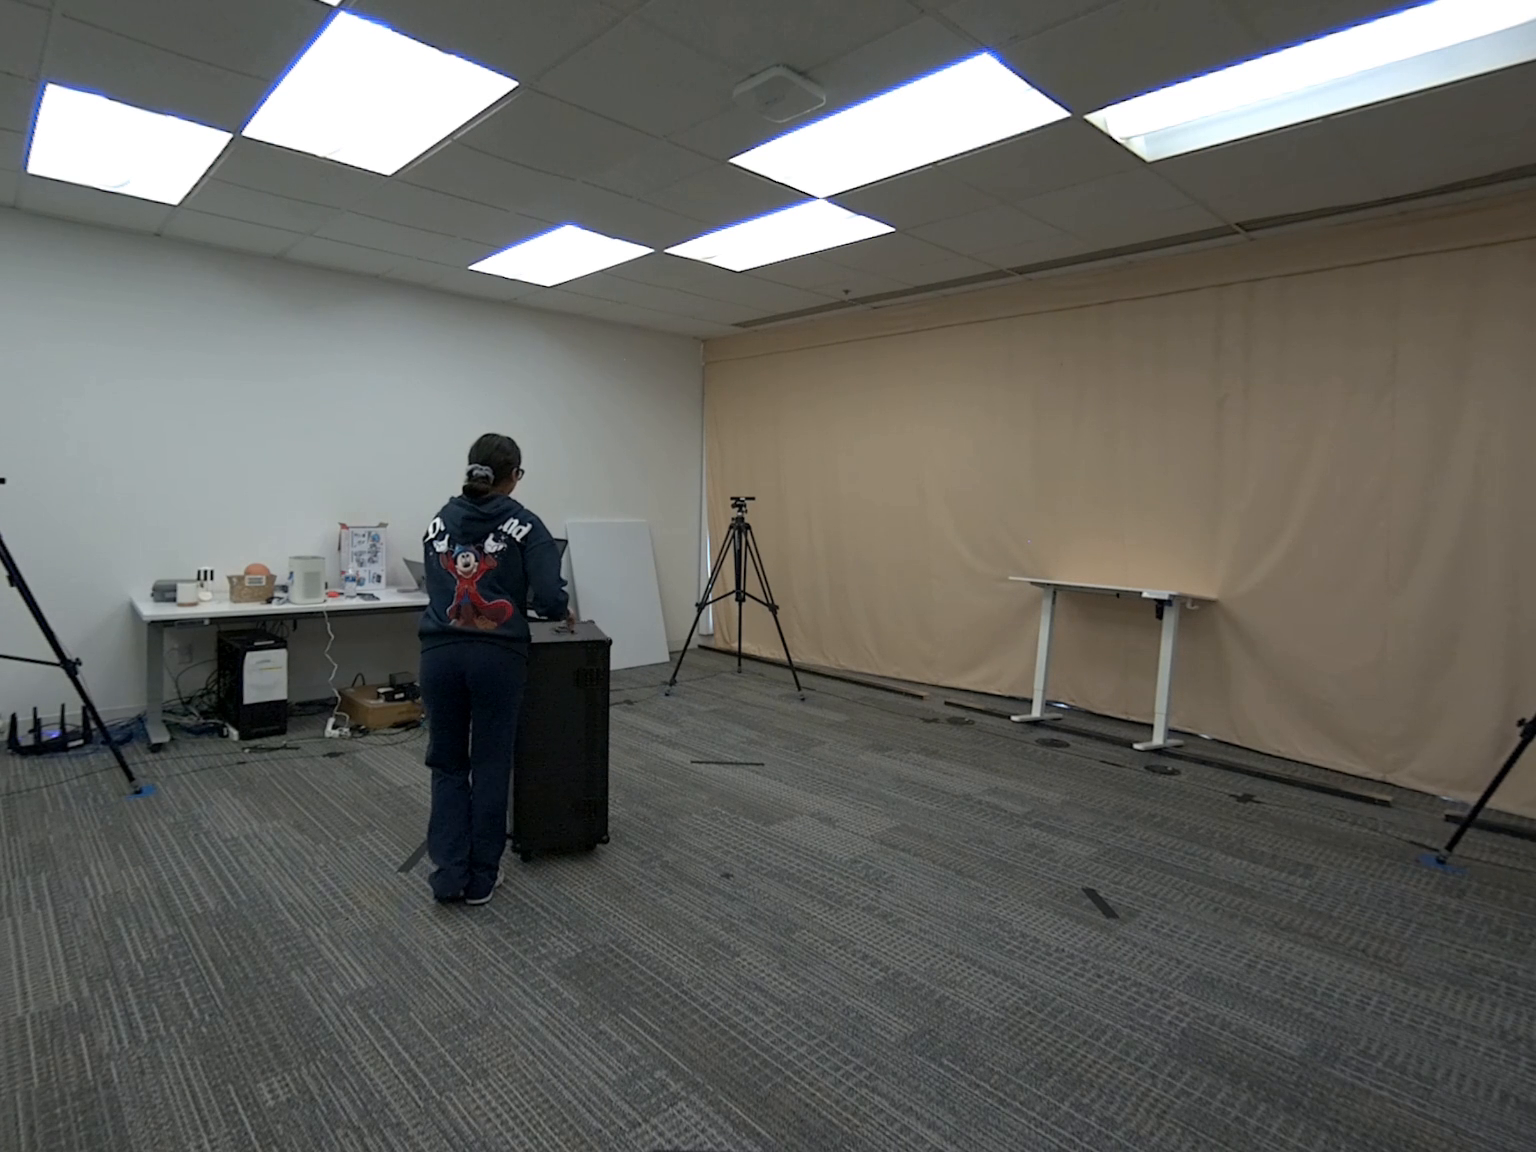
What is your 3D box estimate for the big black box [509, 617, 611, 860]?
[{"bbox_3d":[-0.856,0.645,3.342,0.390,0.859,0.530,-1,4,-20],"label":"big black box"}]
